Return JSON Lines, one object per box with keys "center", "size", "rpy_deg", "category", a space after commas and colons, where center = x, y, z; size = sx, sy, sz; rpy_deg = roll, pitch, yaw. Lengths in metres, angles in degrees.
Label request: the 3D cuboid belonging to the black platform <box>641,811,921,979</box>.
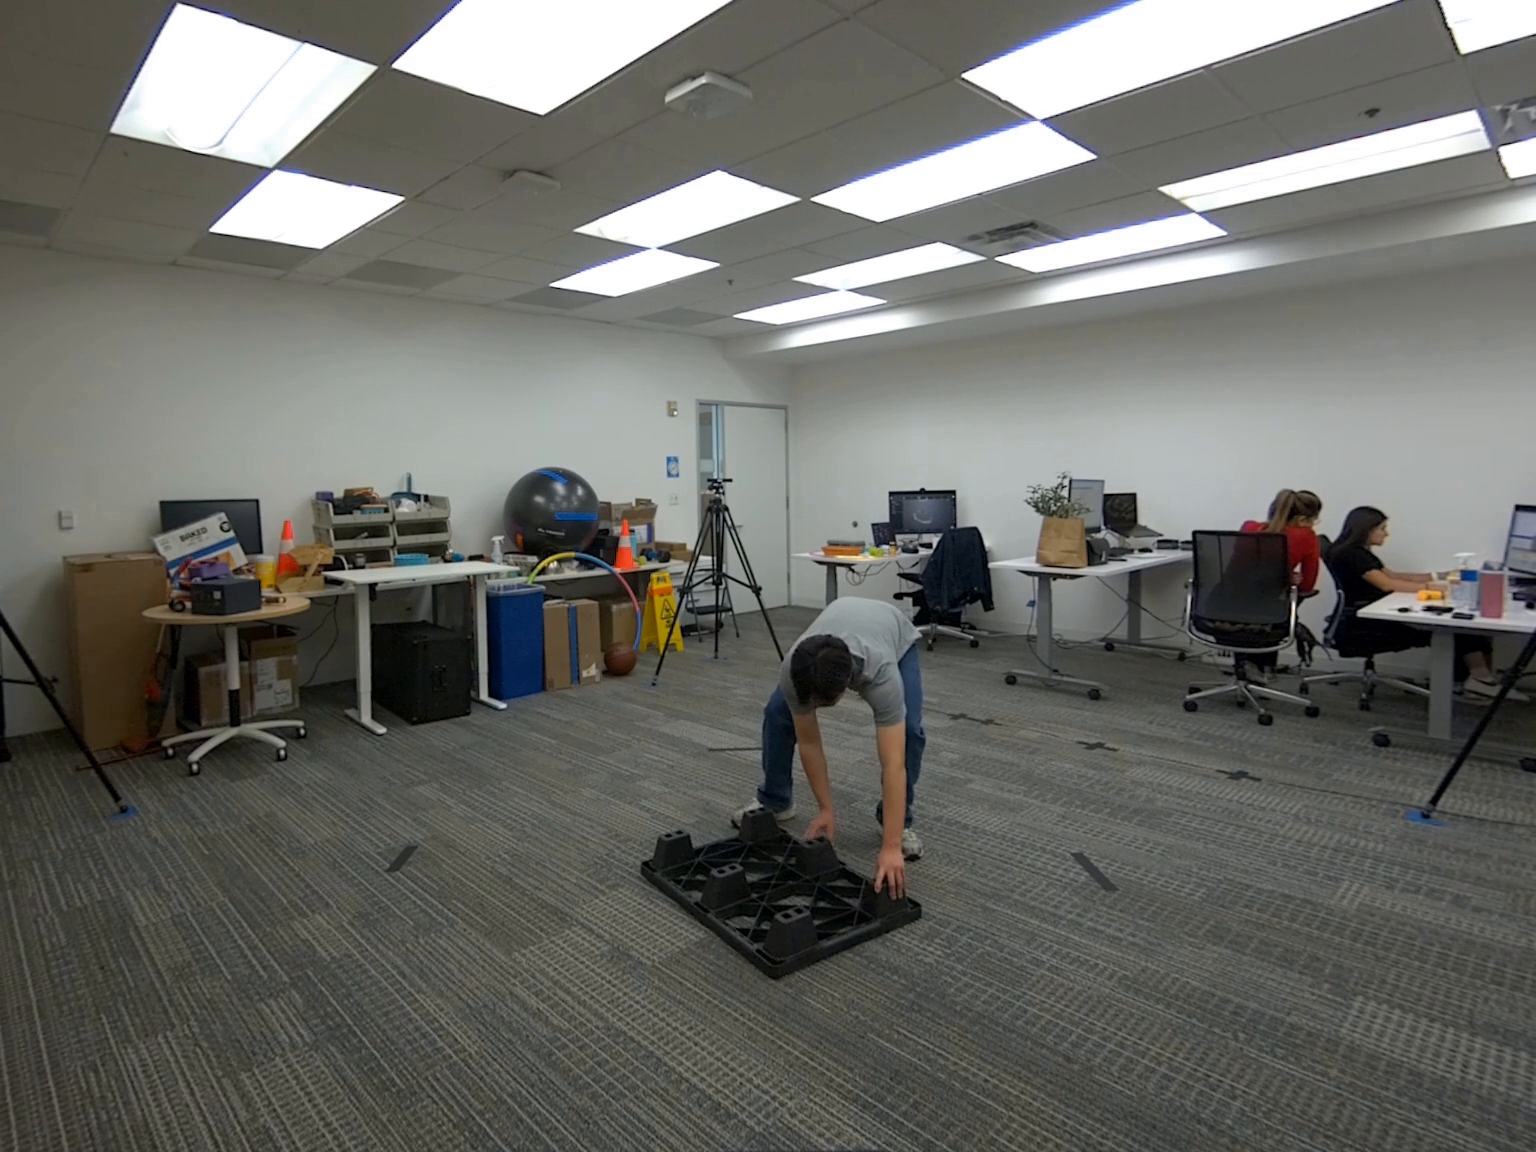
{"center": [0.015, 1.005, 2.873], "size": [0.589, 0.143, 0.830], "rpy_deg": [-4, 7, -36], "category": "black platform"}
